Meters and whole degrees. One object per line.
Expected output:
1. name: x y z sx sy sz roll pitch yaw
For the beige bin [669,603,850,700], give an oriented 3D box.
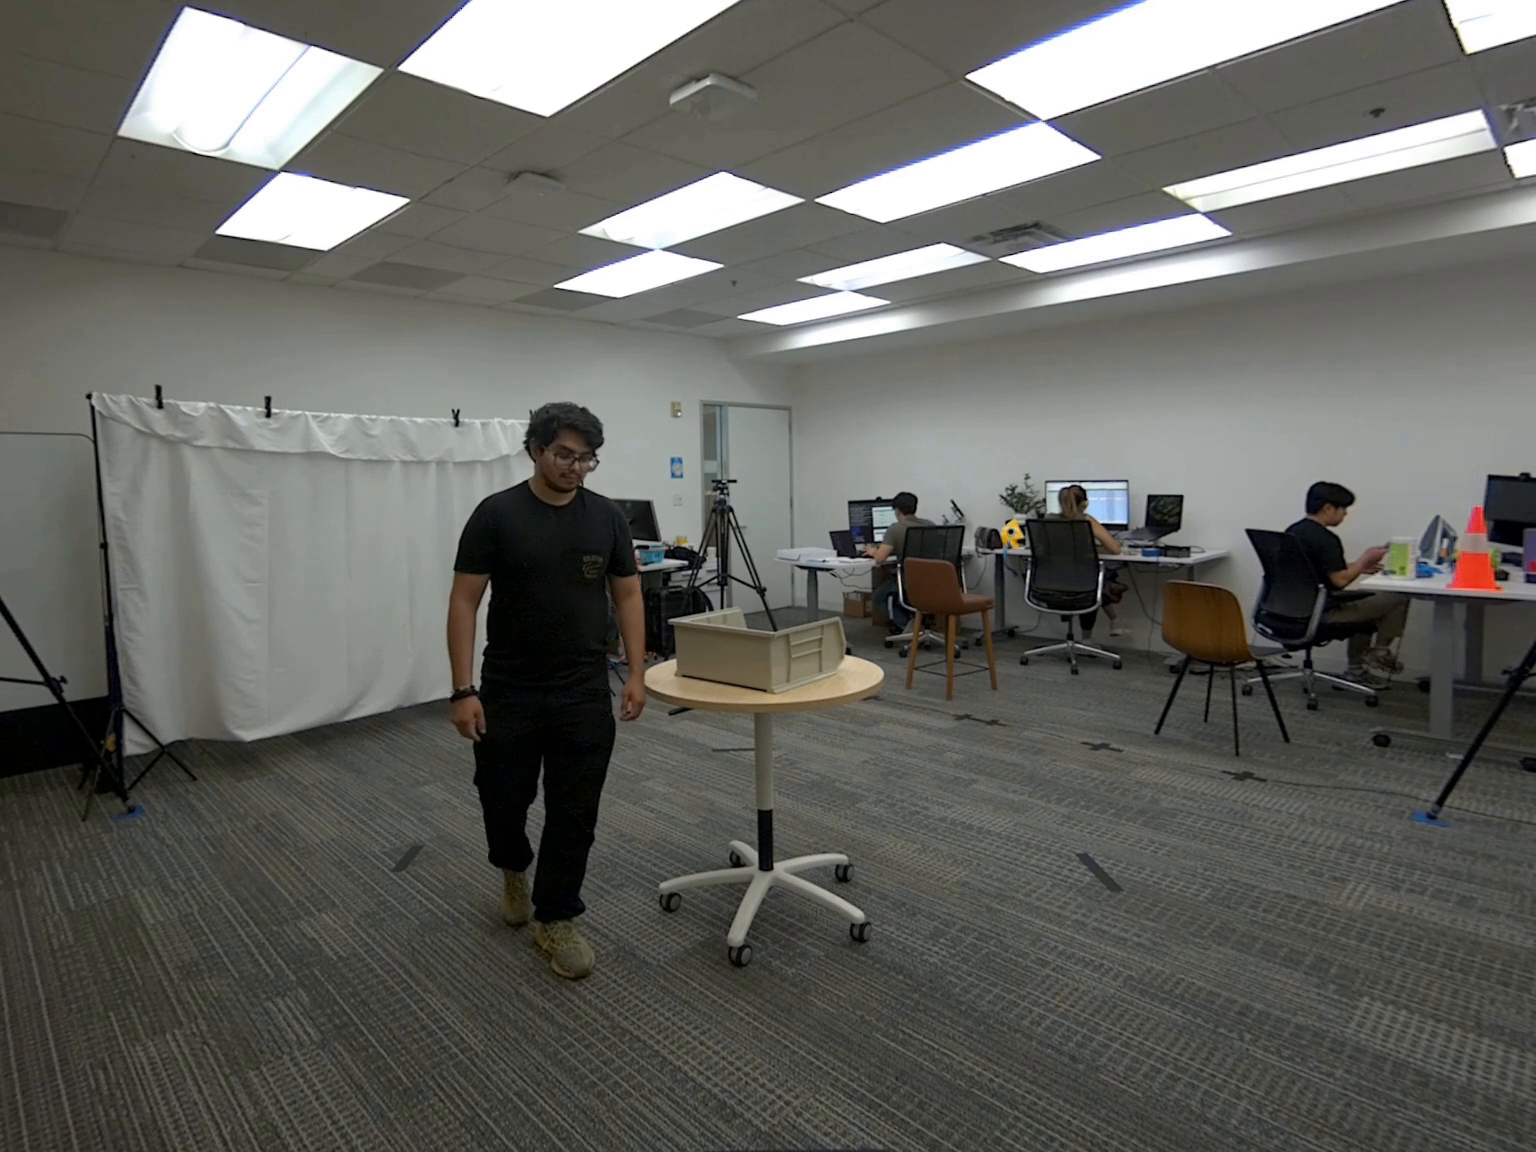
1. beige bin: -0.028 0.223 2.708 0.435 0.188 0.368 4 9 40
